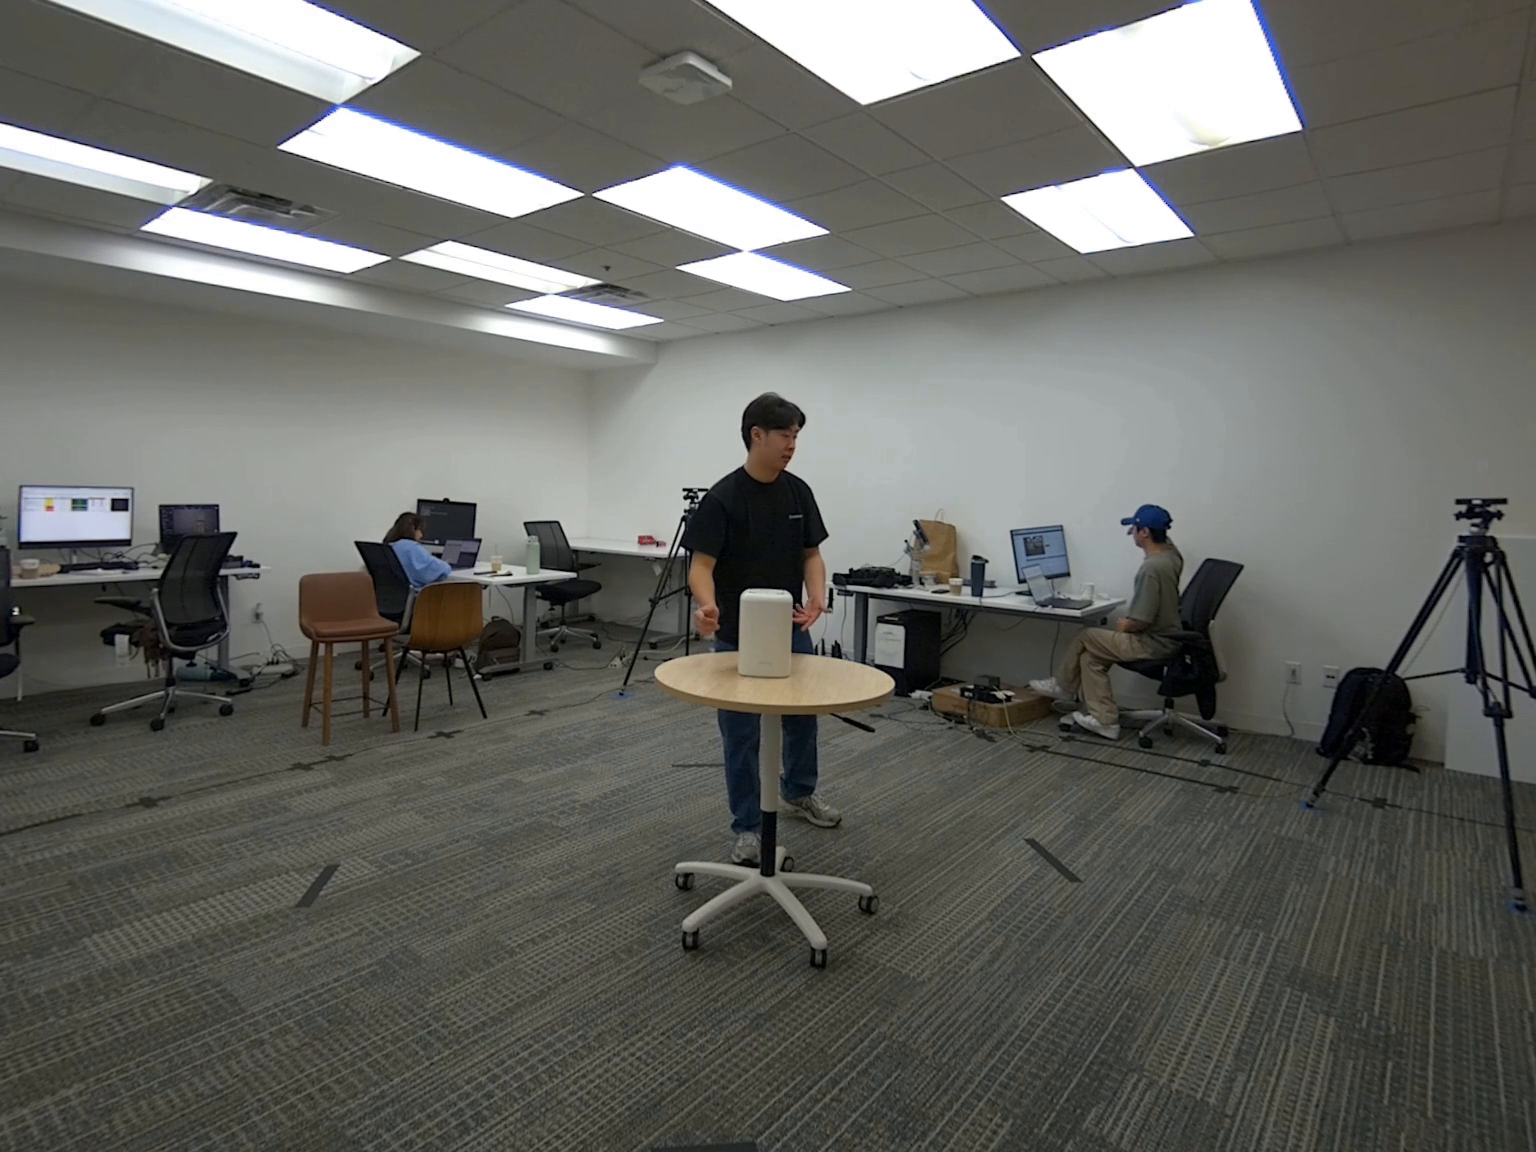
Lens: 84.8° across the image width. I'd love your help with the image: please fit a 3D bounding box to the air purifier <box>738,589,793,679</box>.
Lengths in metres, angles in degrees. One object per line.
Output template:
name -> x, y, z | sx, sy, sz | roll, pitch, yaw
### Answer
air purifier -> -0.016, 0.179, 2.768 | 0.172, 0.265, 0.171 | 1, 3, 3
